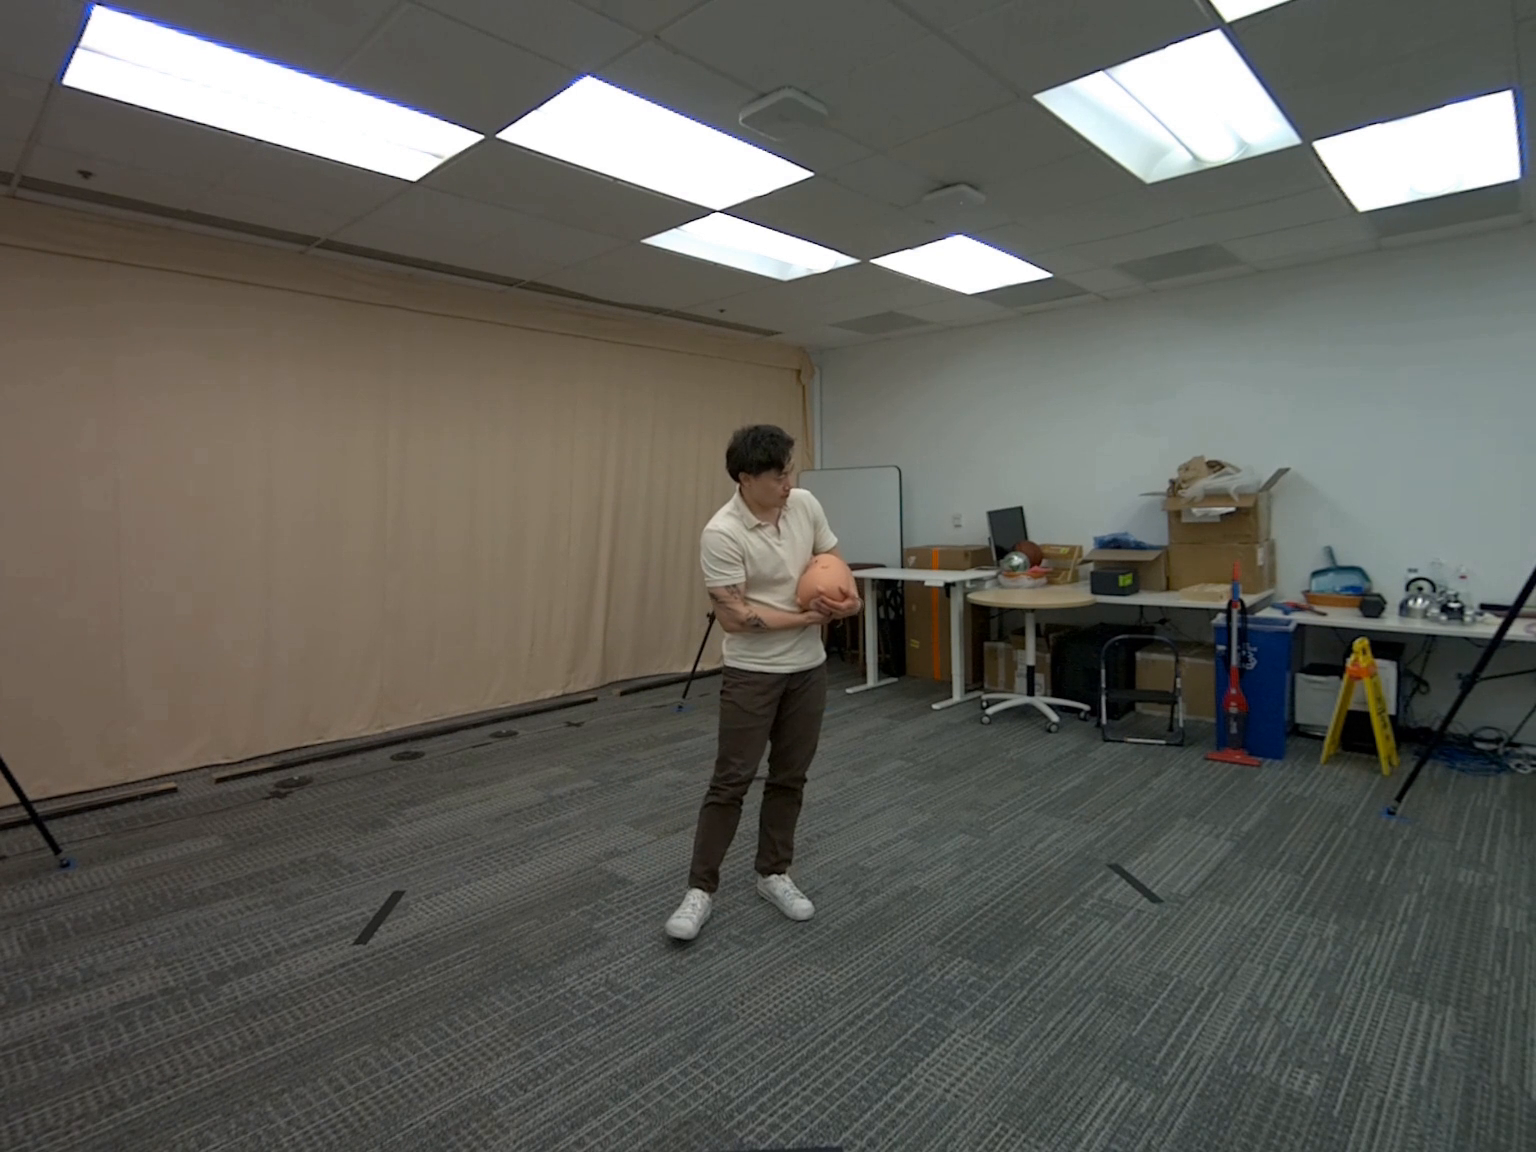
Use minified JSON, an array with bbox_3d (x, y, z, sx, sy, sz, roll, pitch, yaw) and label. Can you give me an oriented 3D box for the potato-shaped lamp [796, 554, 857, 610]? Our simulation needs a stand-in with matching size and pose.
[{"bbox_3d":[0.170,0.023,2.777,0.166,0.202,0.167,23,-46,-33],"label":"potato-shaped lamp"}]
